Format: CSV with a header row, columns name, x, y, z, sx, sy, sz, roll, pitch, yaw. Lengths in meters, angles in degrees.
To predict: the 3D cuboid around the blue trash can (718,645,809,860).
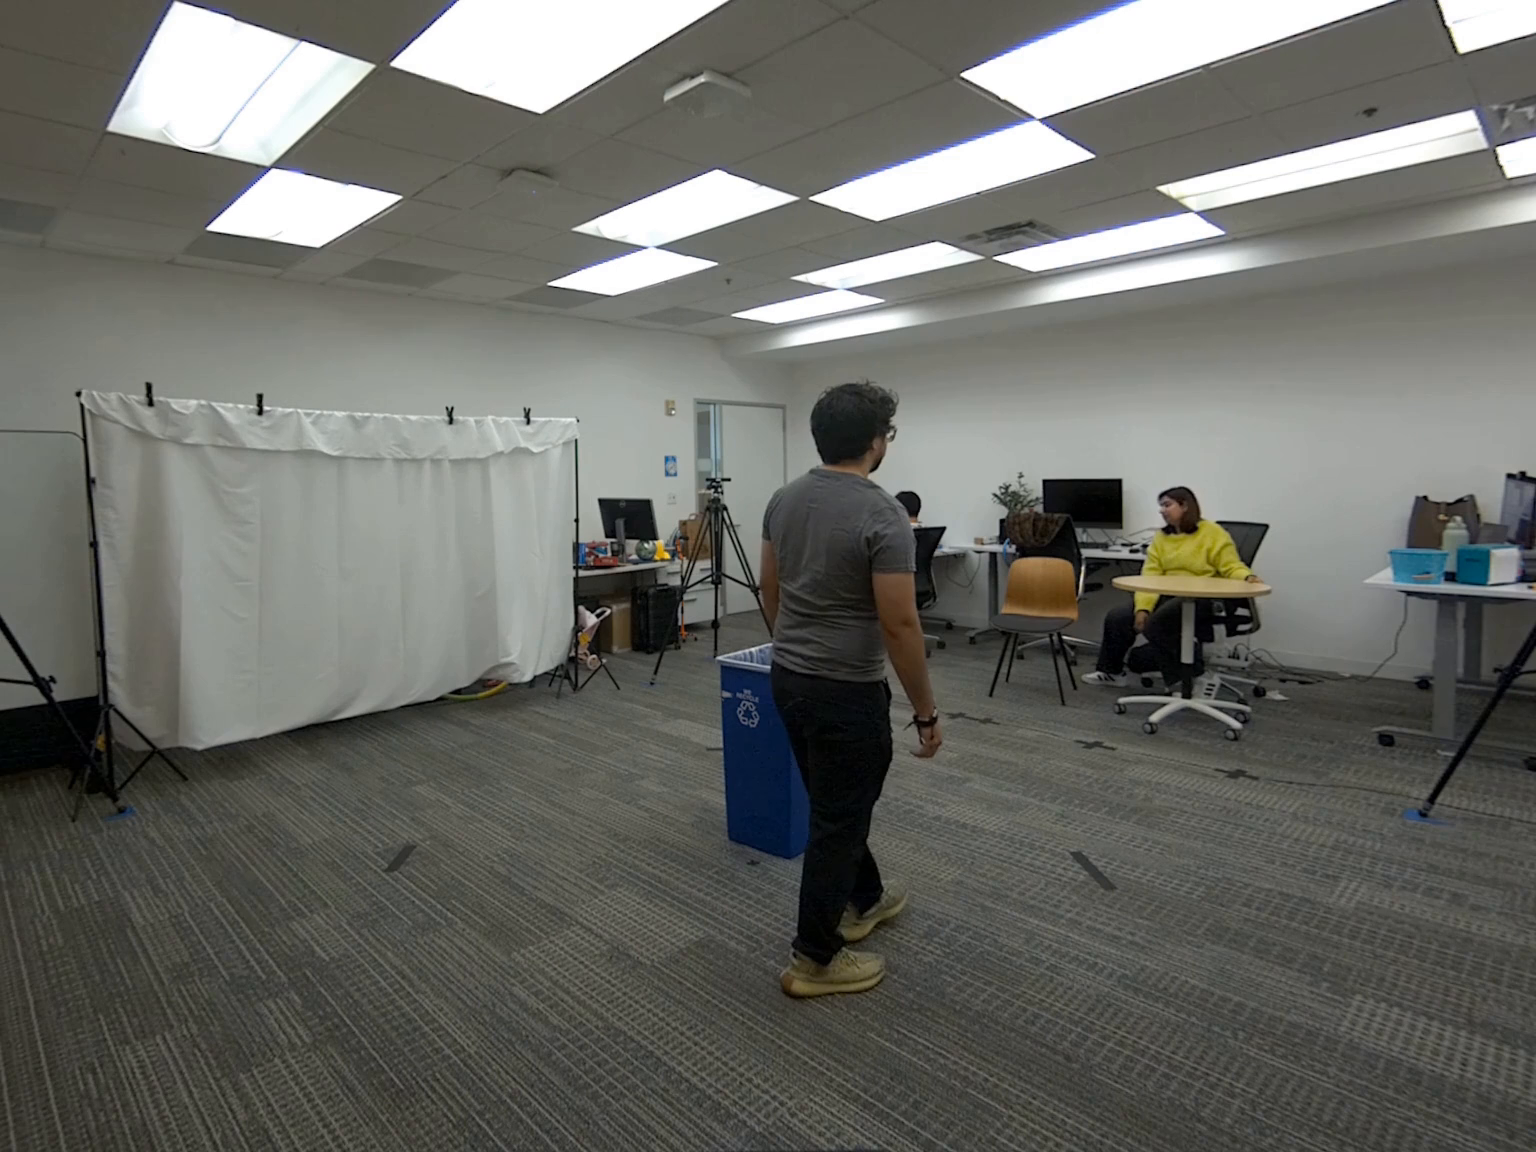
name,x,y,z,sx,sy,sz,roll,pitch,yaw
blue trash can,0.055,0.660,3.303,0.385,0.711,0.368,2,5,38
